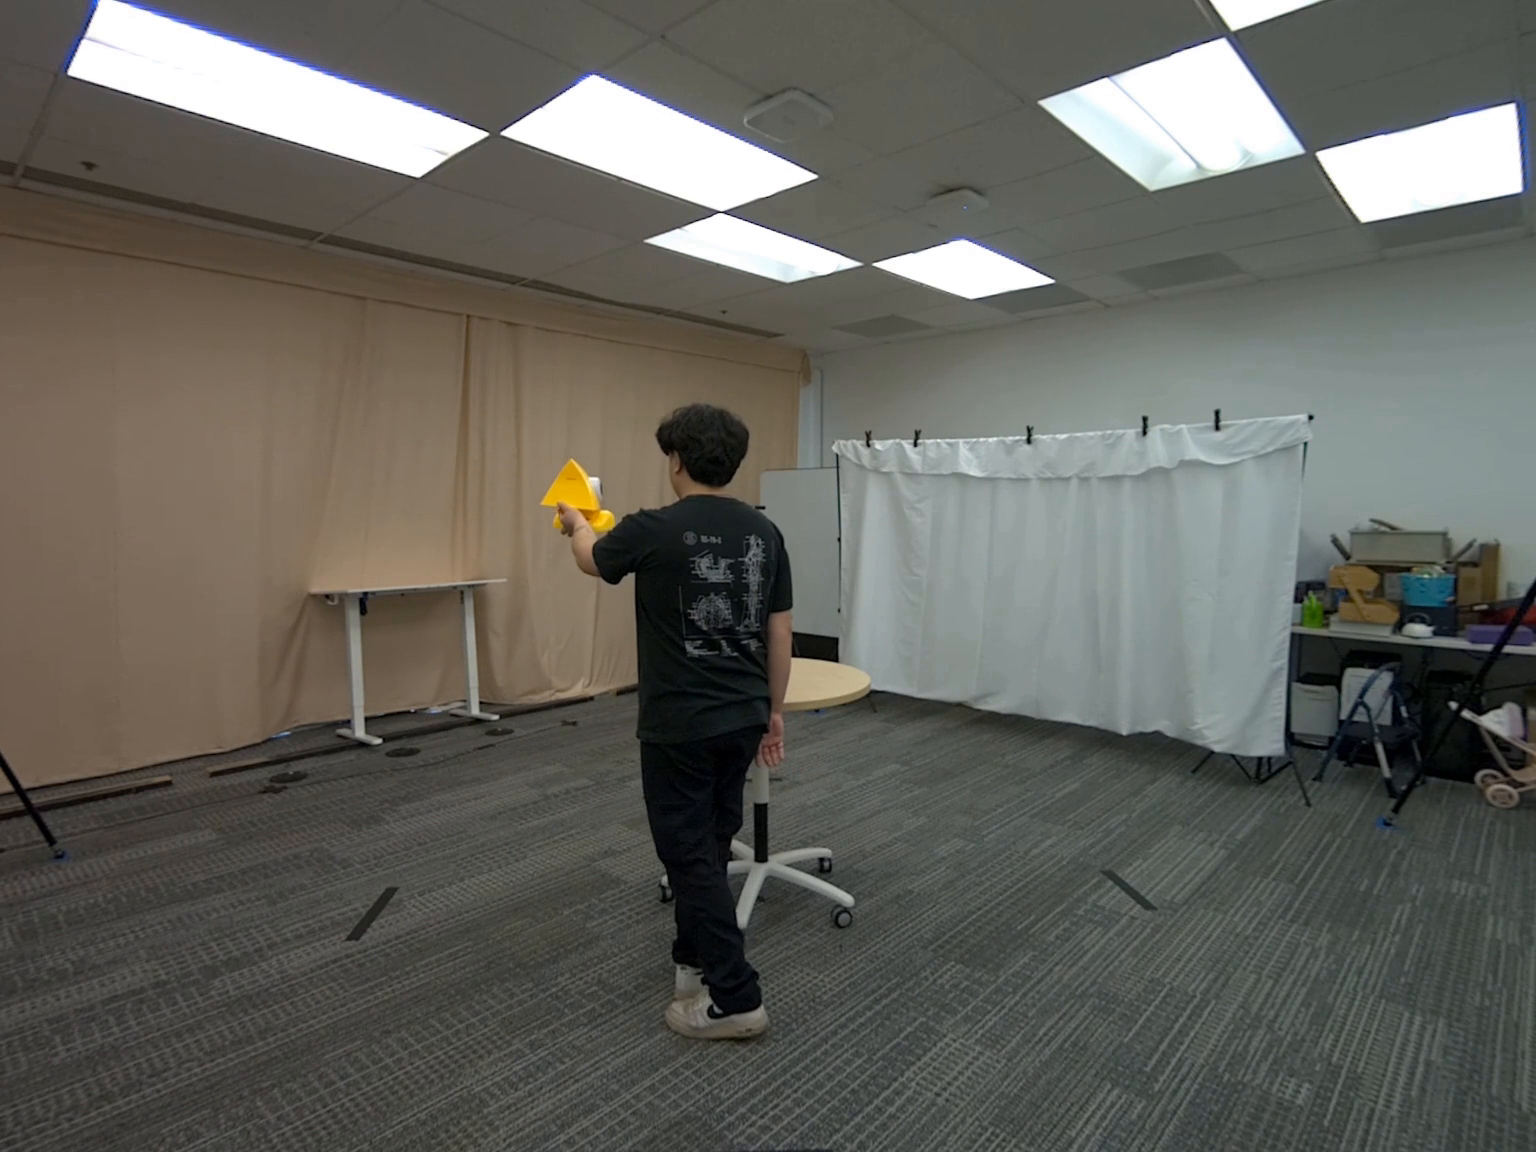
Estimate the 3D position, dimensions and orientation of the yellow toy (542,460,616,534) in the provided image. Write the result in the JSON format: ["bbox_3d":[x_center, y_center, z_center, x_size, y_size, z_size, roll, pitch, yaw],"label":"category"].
[{"bbox_3d":[-0.613,-0.274,2.752,0.210,0.229,0.190,5,14,21],"label":"yellow toy"}]
